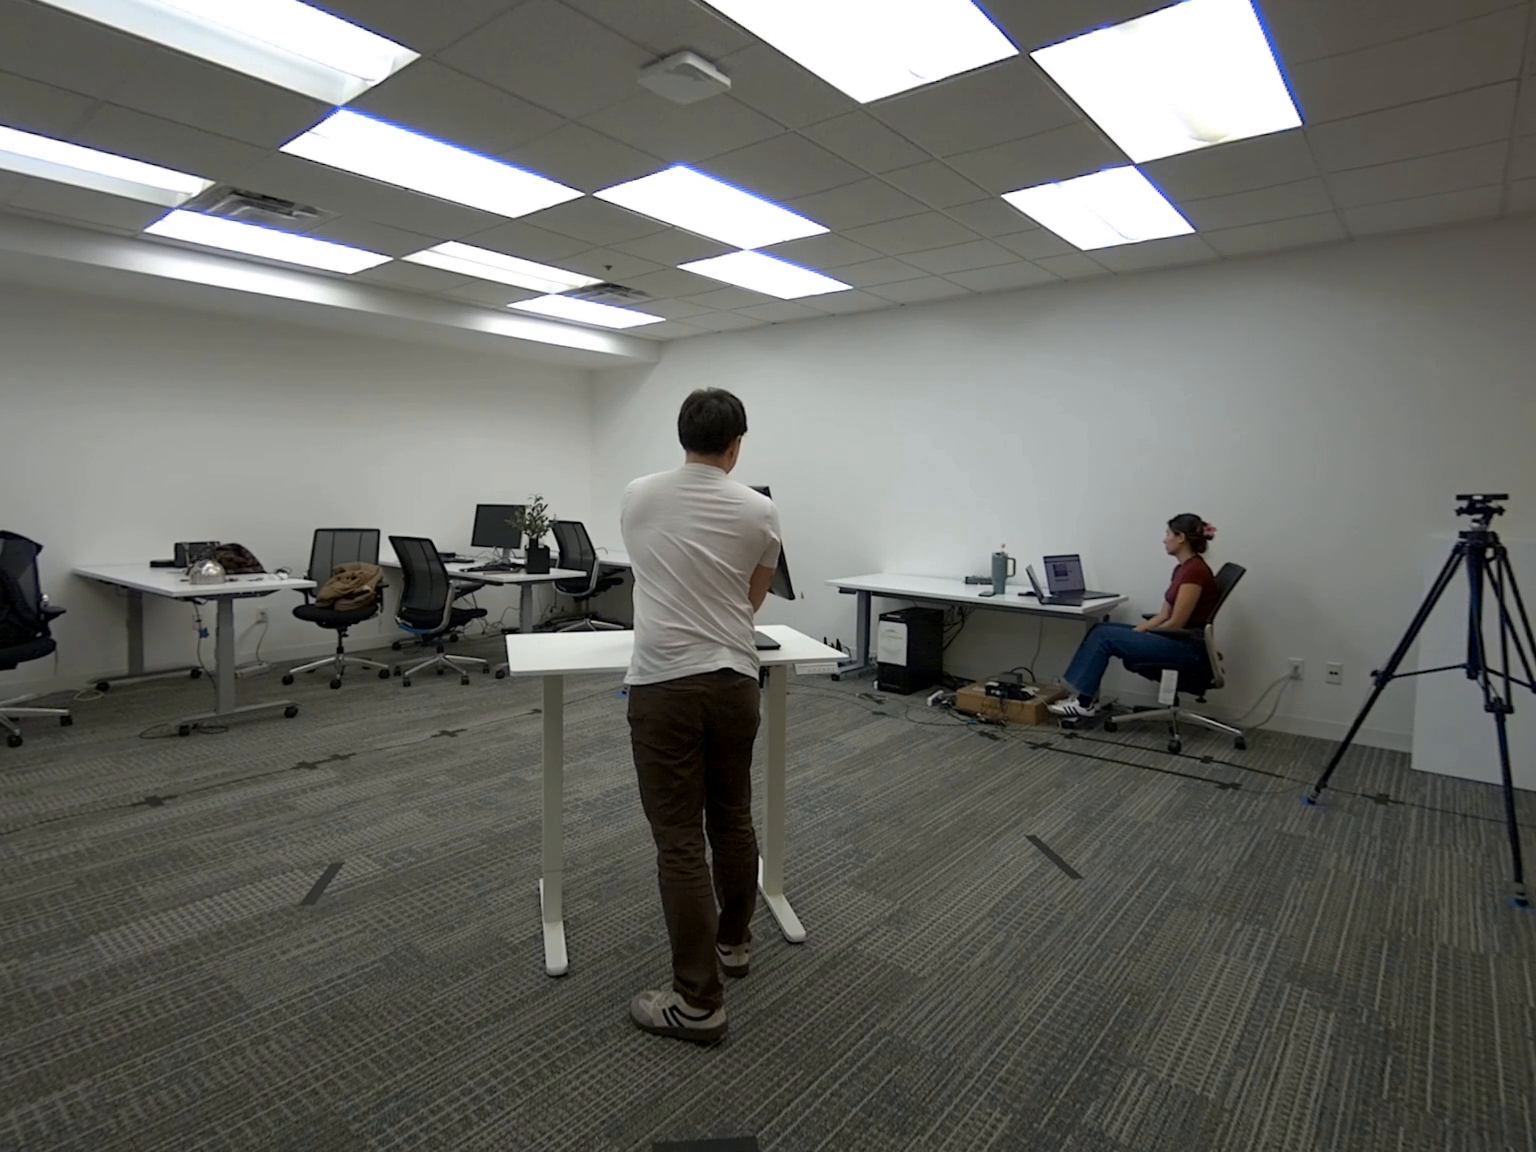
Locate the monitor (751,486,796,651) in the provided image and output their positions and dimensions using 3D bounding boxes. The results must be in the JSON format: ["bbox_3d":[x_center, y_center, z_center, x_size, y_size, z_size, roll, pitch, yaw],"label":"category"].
[{"bbox_3d":[-0.084,-0.036,2.778,0.184,0.520,0.550,-3,5,-16],"label":"monitor"}]
